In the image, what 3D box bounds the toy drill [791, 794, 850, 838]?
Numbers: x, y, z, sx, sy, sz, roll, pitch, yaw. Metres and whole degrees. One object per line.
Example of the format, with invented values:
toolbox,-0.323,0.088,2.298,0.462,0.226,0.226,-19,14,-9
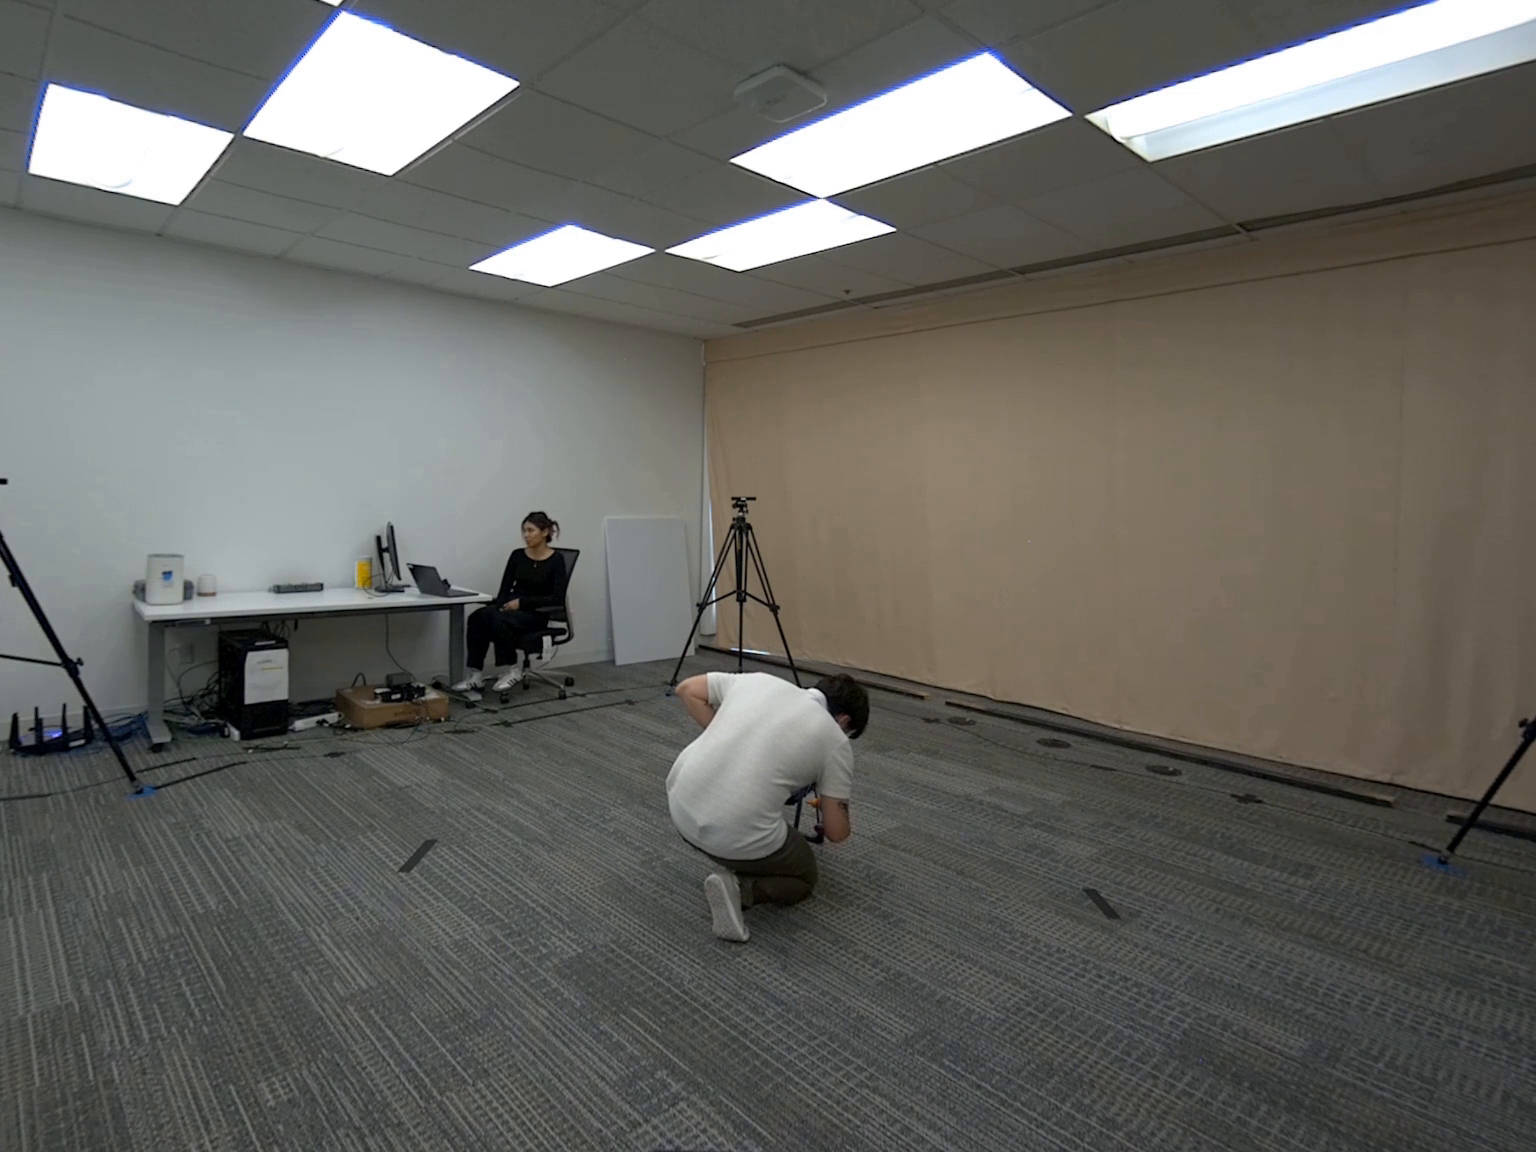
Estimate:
toy drill,0.193,0.889,3.133,0.173,0.060,0.146,-3,28,26
